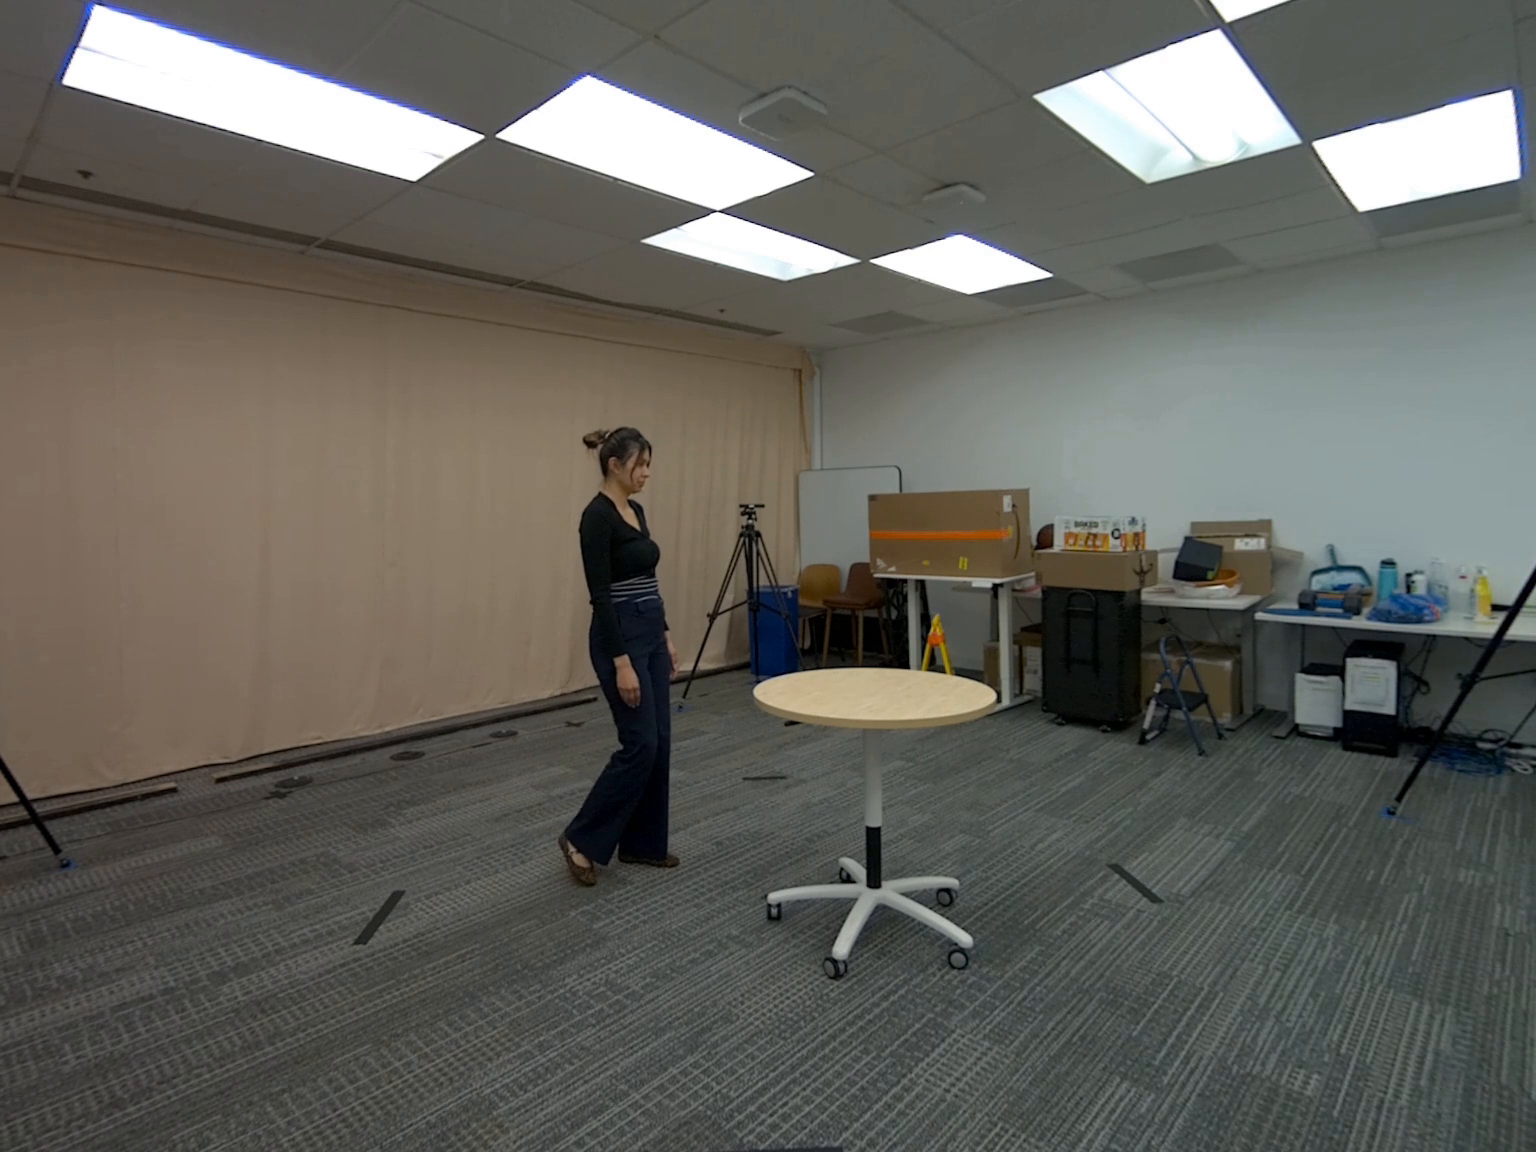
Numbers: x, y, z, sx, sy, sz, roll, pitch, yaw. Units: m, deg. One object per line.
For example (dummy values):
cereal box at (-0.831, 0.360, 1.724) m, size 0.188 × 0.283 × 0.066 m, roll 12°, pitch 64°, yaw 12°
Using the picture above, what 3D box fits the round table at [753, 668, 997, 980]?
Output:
round table at (0.352, 0.766, 2.734) m, size 0.763 × 0.792 × 0.767 m, roll -1°, pitch 4°, yaw -2°
